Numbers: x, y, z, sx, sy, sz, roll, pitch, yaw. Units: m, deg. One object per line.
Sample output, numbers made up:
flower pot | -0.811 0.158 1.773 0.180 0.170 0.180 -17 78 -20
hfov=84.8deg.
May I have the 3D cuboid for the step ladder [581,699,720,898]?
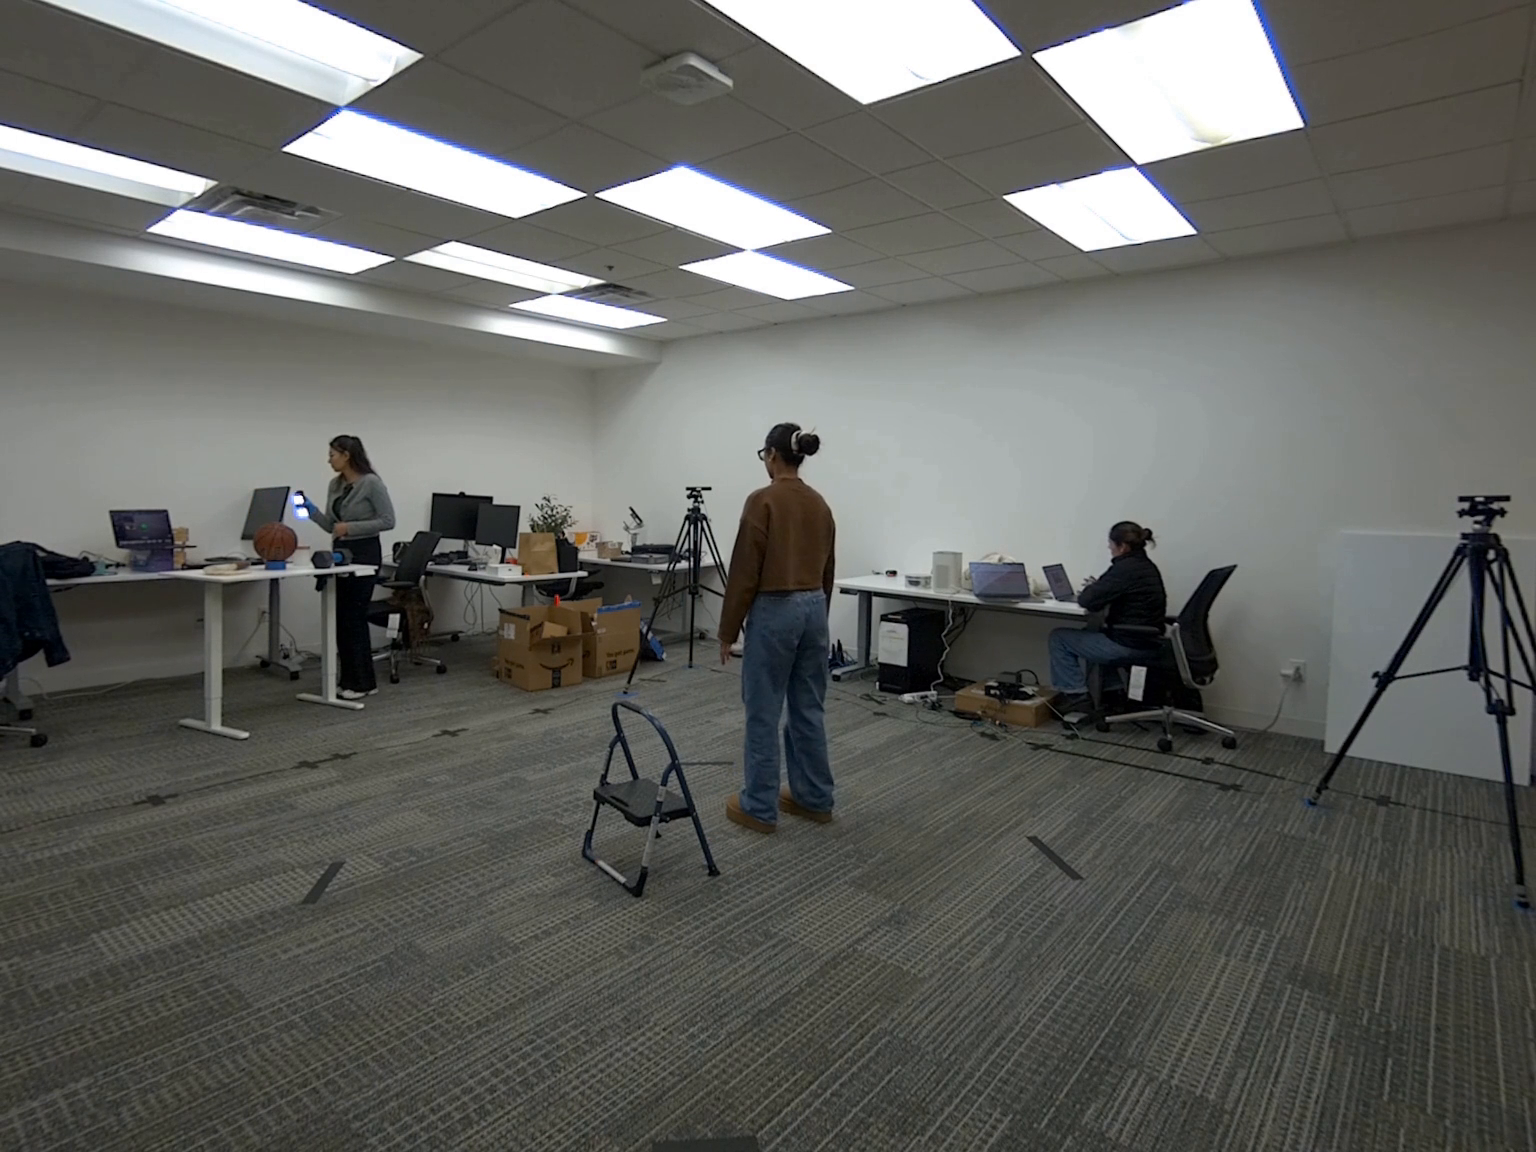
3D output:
step ladder | -0.447 0.755 3.117 0.339 0.604 0.445 -2 5 -39
